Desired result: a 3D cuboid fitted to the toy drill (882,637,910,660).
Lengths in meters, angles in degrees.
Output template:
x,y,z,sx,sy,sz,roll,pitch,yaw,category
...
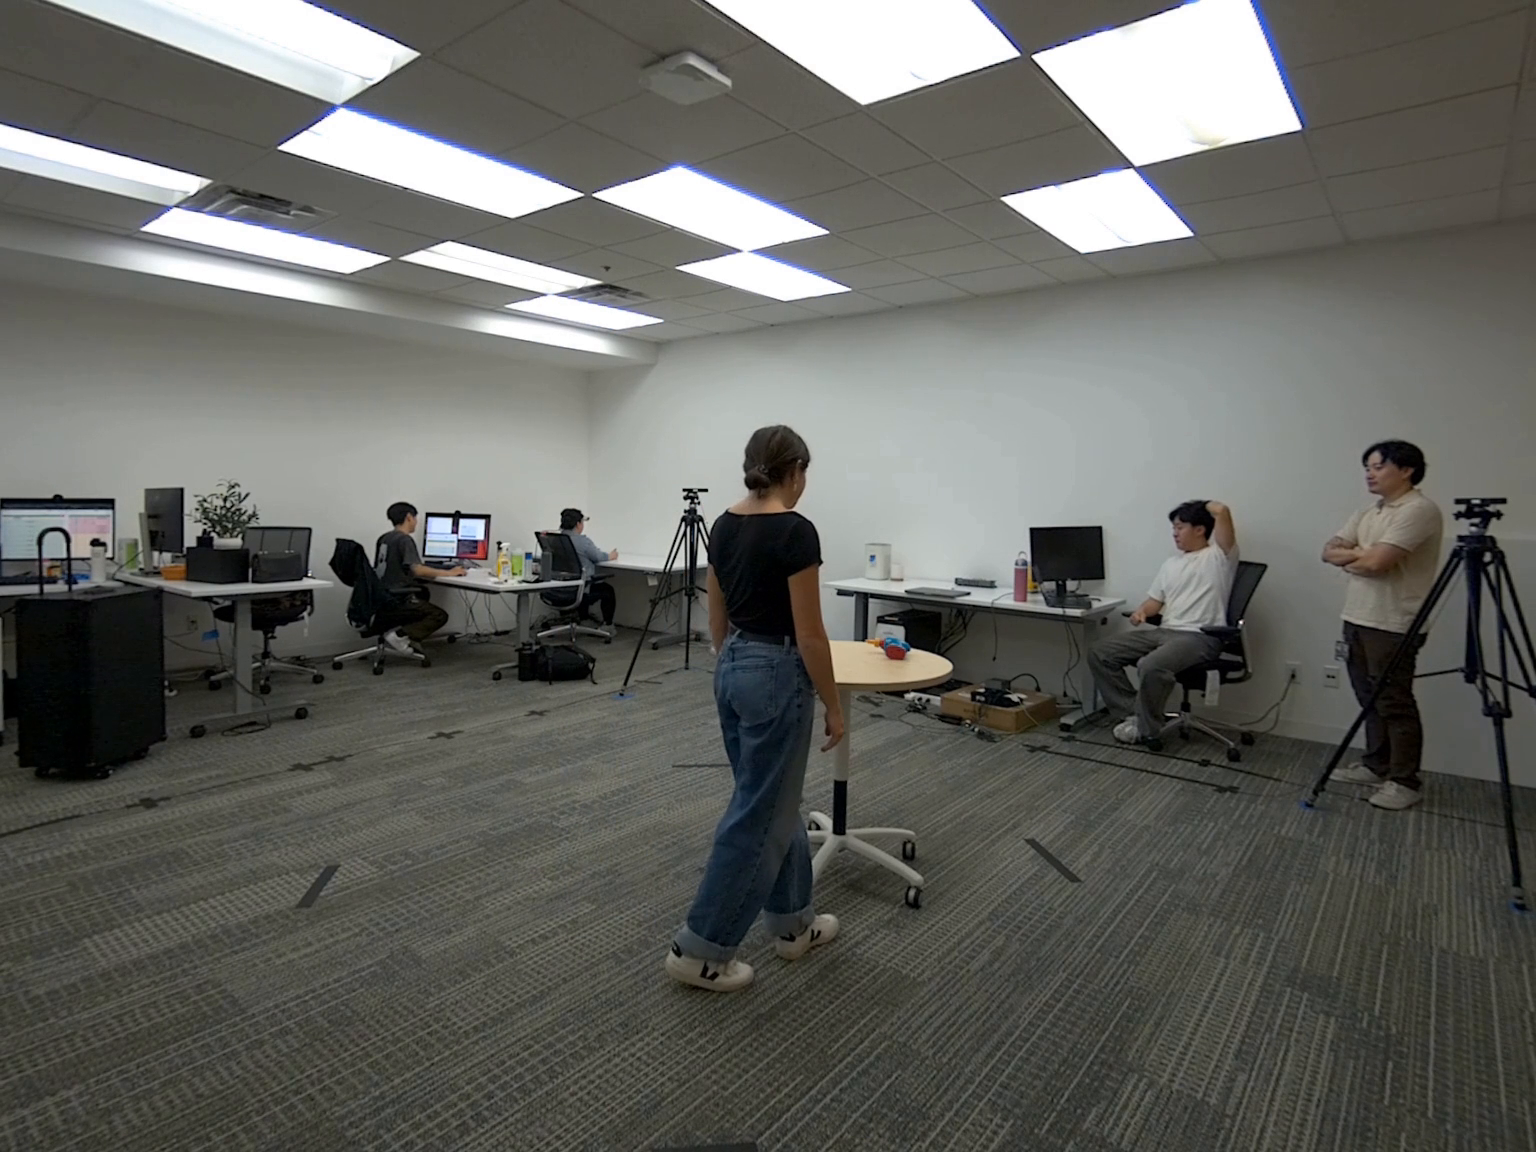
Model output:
x,y,z,sx,sy,sz,roll,pitch,yaw,category
0.458,0.257,3.177,0.173,0.061,0.144,10,9,14,toy drill
